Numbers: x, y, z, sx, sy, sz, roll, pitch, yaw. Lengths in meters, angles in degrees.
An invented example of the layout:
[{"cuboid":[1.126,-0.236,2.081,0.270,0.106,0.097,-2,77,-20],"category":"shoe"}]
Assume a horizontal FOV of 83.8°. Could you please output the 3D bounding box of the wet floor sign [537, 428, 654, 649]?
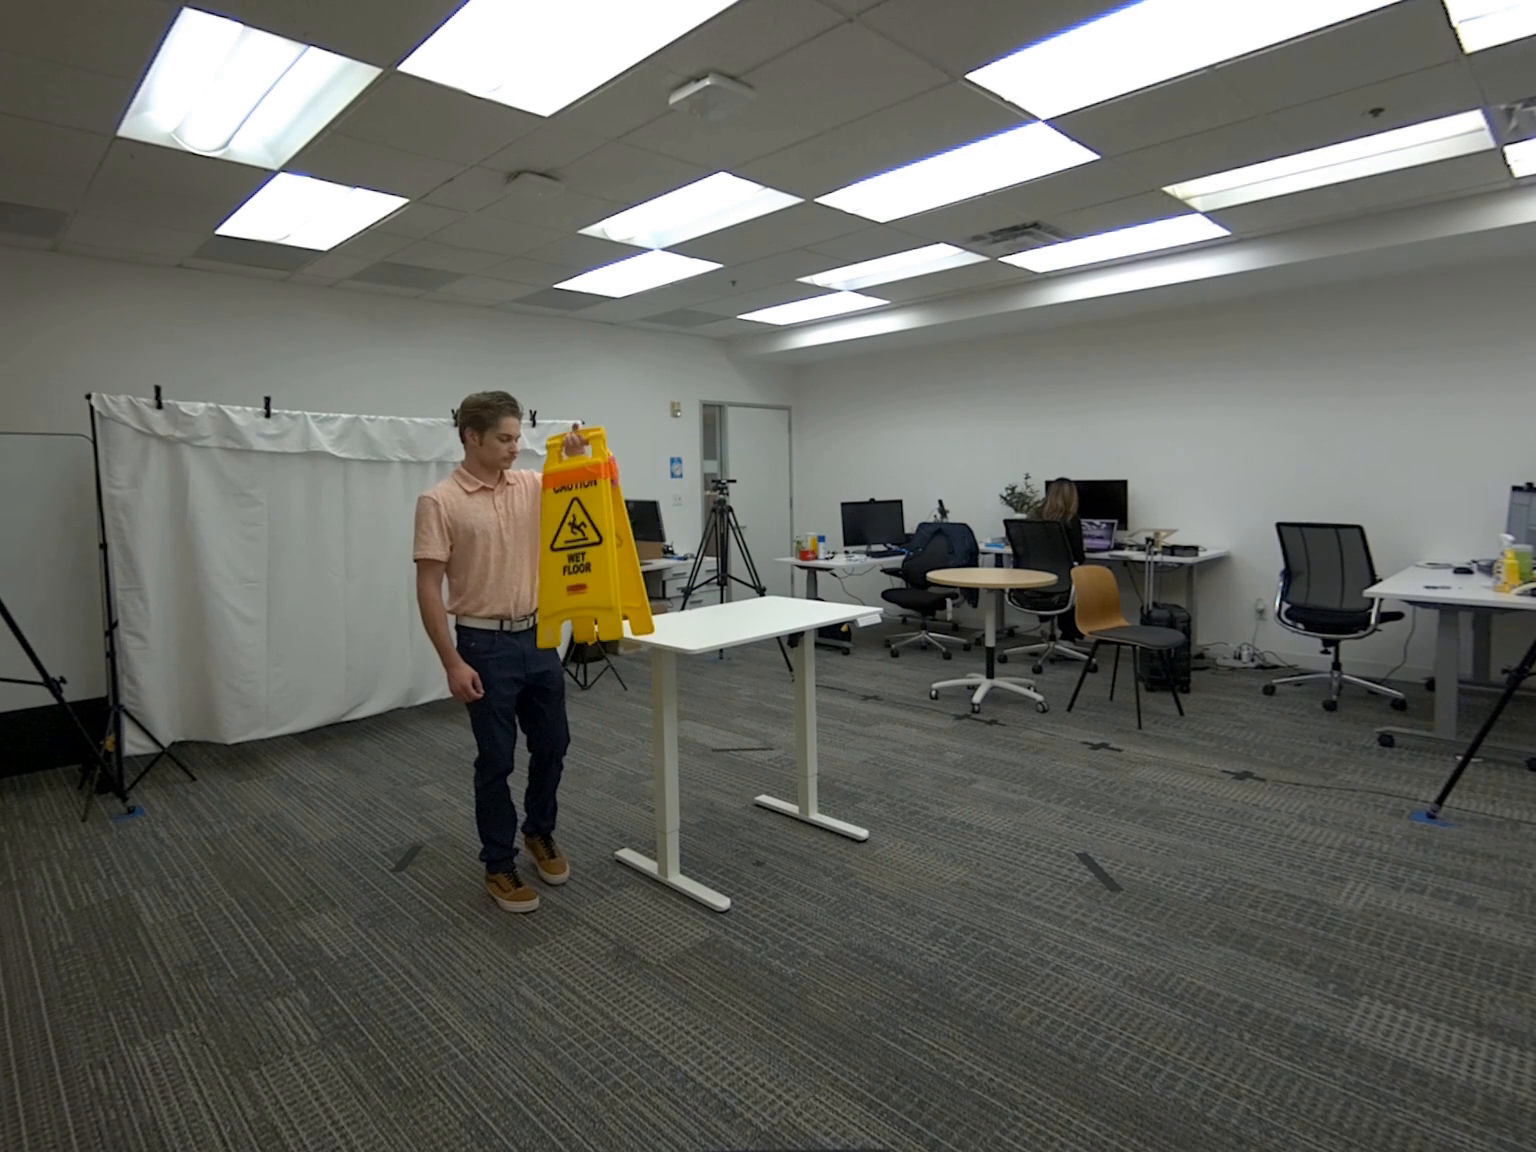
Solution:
[{"cuboid":[-0.561,-0.117,2.619,0.286,0.649,0.284,-9,-5,16],"category":"wet floor sign"}]
